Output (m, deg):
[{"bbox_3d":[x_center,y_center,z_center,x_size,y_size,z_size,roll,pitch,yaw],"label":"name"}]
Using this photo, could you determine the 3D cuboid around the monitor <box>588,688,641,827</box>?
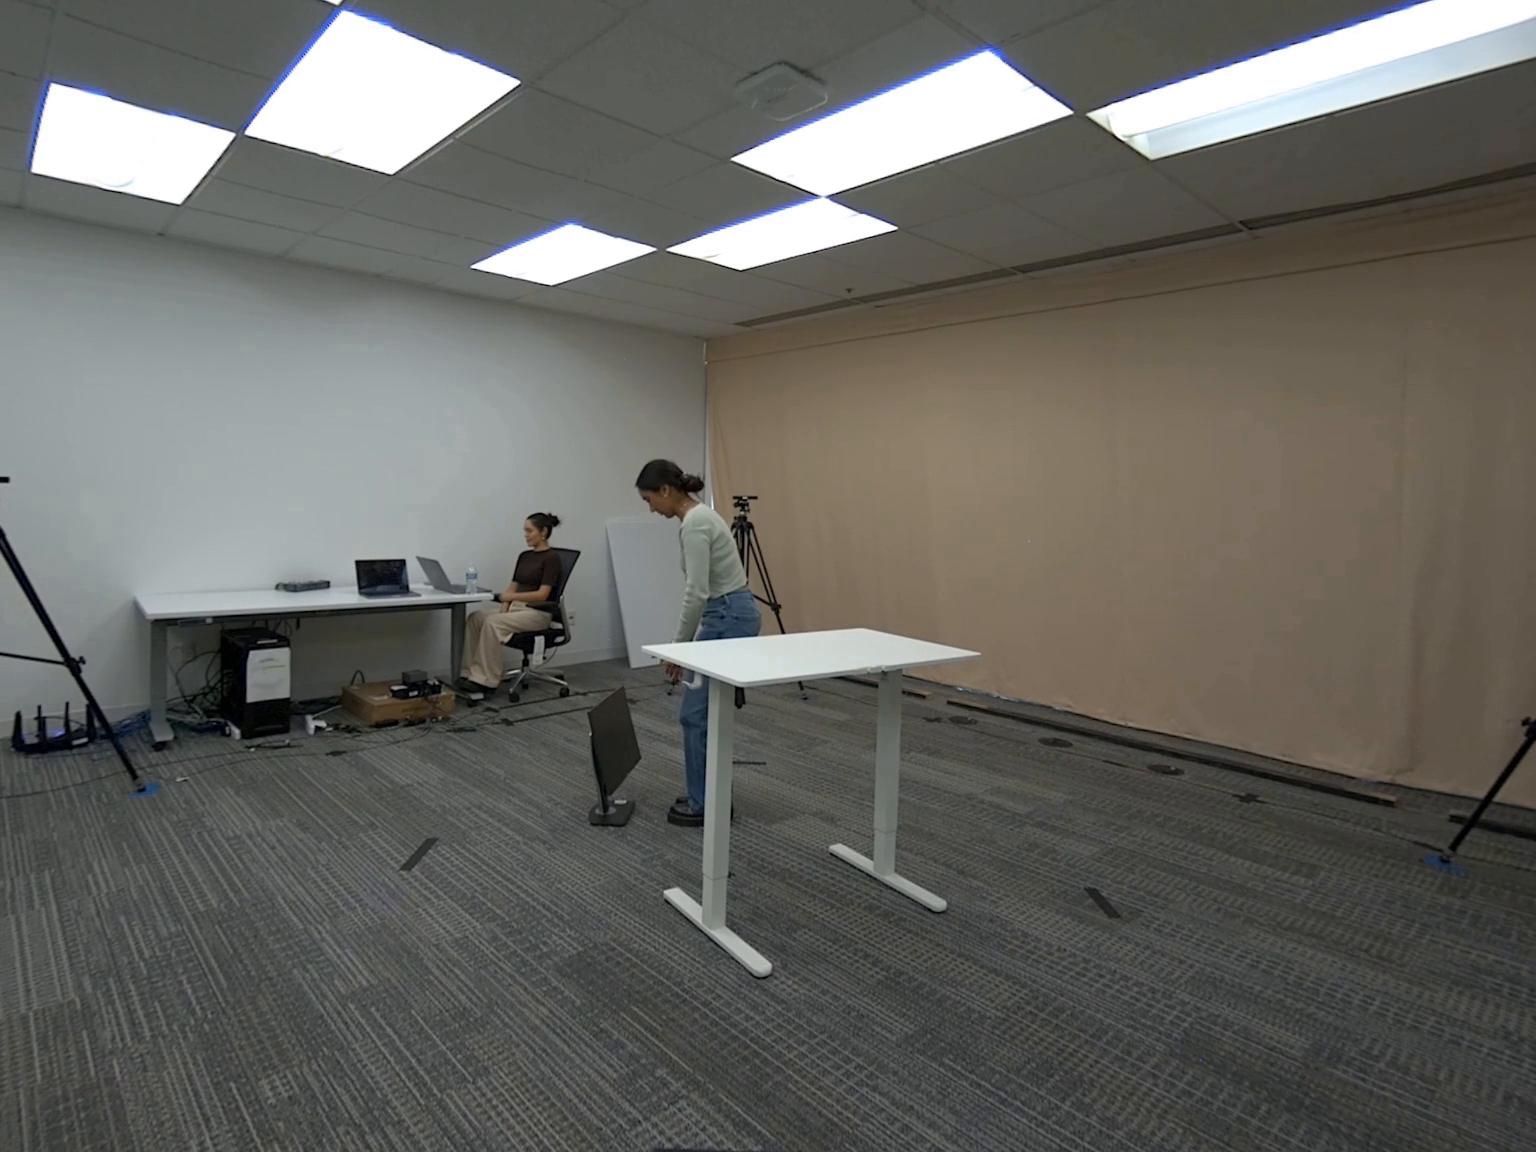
[{"bbox_3d":[-0.685,0.783,3.660,0.187,0.522,0.538,0,2,2],"label":"monitor"}]
